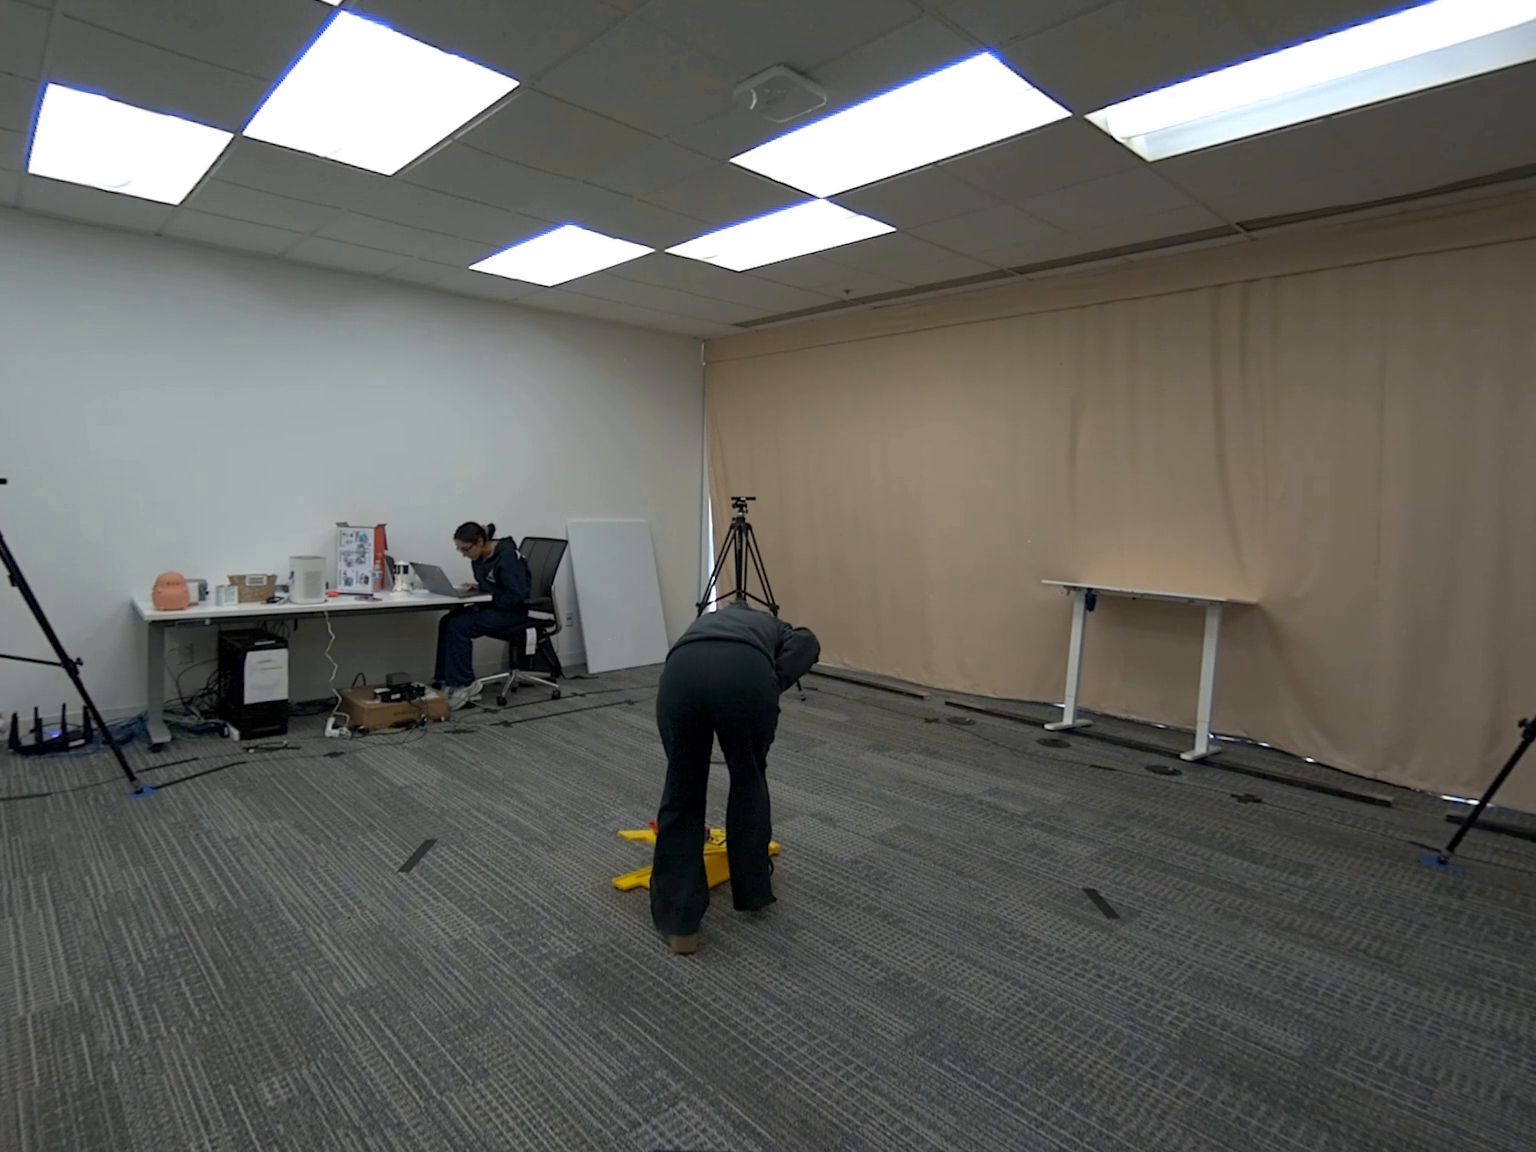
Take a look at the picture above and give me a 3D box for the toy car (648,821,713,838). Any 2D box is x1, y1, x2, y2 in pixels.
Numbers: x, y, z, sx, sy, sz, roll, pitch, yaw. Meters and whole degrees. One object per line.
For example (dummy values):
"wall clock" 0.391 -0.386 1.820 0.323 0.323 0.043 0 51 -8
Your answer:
"toy car" -0.325 0.926 3.044 0.134 0.084 0.246 7 -20 43
